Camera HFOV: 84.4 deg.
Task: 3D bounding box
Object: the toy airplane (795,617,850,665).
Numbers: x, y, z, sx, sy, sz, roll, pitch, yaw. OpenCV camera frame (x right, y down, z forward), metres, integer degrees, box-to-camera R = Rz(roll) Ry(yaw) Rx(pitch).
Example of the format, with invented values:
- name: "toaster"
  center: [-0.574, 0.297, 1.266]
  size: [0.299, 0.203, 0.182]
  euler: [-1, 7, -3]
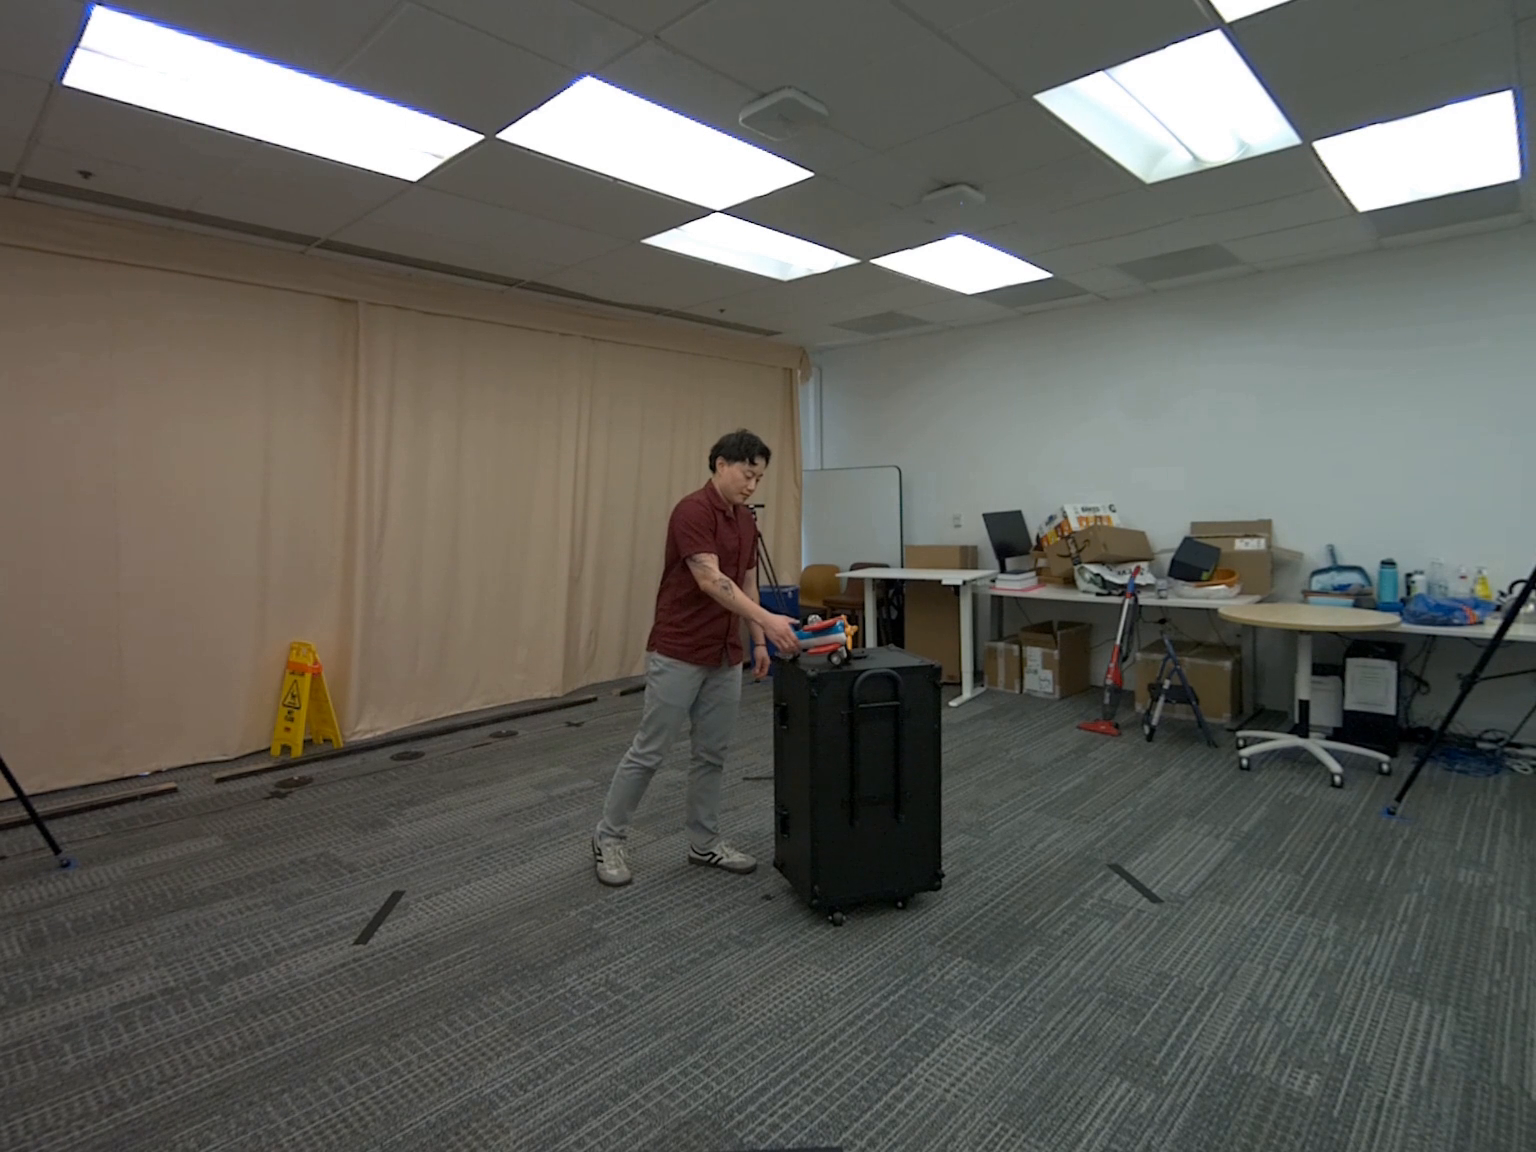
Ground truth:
- name: "toy airplane"
  center: [0.160, 0.217, 2.844]
  size: [0.259, 0.156, 0.251]
  euler: [1, 4, 0]
